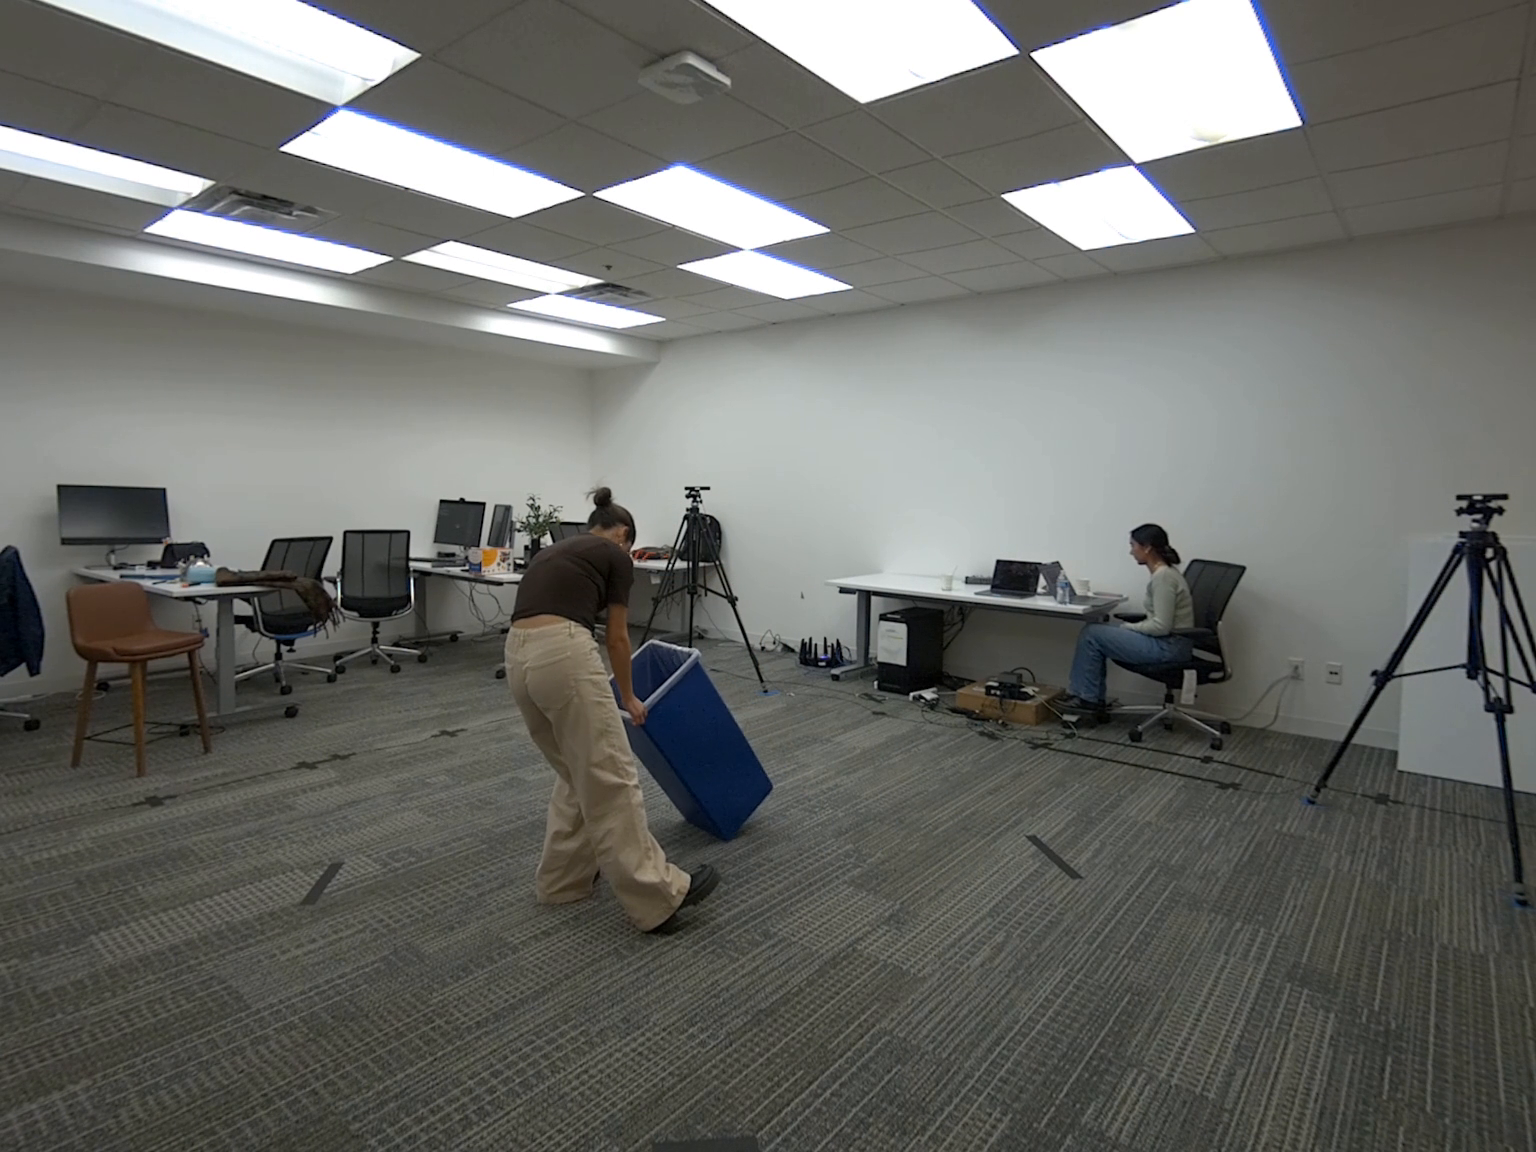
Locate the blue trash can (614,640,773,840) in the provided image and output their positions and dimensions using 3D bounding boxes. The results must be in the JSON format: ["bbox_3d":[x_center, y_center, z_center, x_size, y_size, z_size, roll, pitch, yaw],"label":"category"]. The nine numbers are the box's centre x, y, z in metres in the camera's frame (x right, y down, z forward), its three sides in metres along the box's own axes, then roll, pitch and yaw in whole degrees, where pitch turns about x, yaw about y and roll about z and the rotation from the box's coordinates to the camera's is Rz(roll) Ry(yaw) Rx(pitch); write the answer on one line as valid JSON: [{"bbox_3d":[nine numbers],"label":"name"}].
[{"bbox_3d":[-0.336,0.660,3.374,0.372,0.695,0.390,-42,25,-29],"label":"blue trash can"}]
